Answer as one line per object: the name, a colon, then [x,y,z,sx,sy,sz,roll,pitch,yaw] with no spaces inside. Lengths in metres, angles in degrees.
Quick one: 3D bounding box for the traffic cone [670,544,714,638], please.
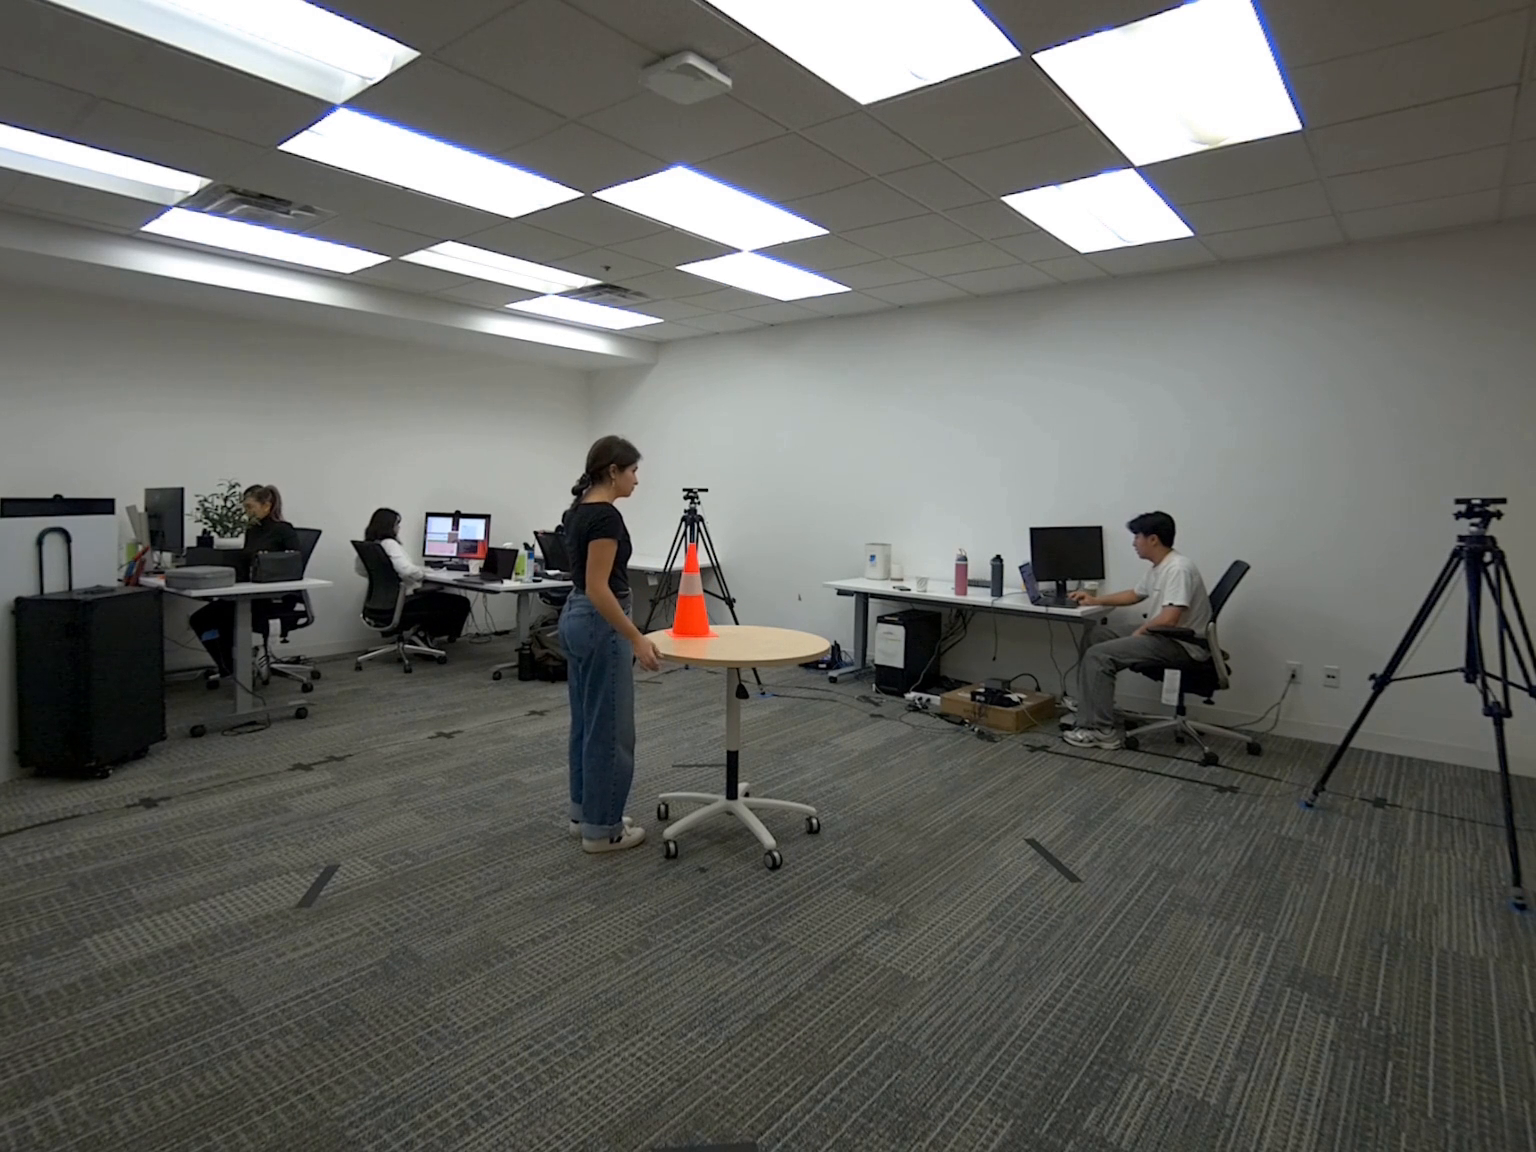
traffic cone: [-0.331,0.050,3.565,0.201,0.383,0.208,-1,2,-13]
